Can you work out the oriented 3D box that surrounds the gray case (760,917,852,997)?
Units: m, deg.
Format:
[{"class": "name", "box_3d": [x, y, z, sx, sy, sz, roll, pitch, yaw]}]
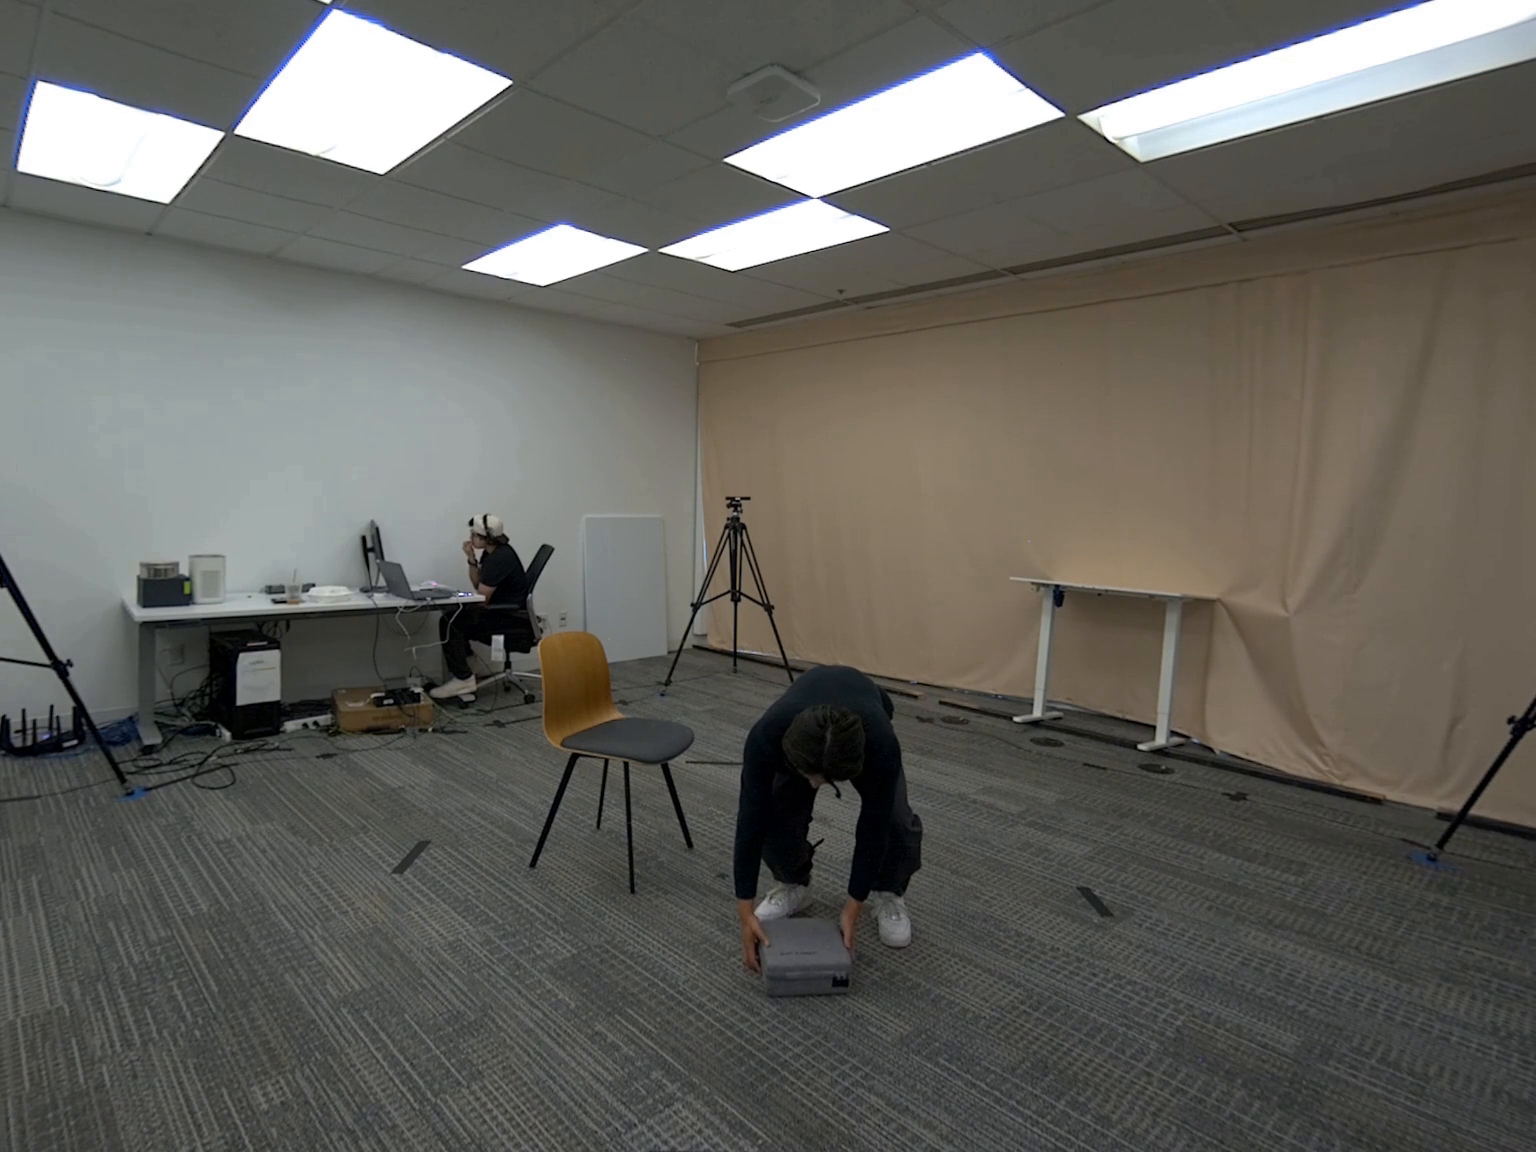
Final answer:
[{"class": "gray case", "box_3d": [0.087, 1.114, 2.471, 0.256, 0.104, 0.263, -1, 7, -6]}]
